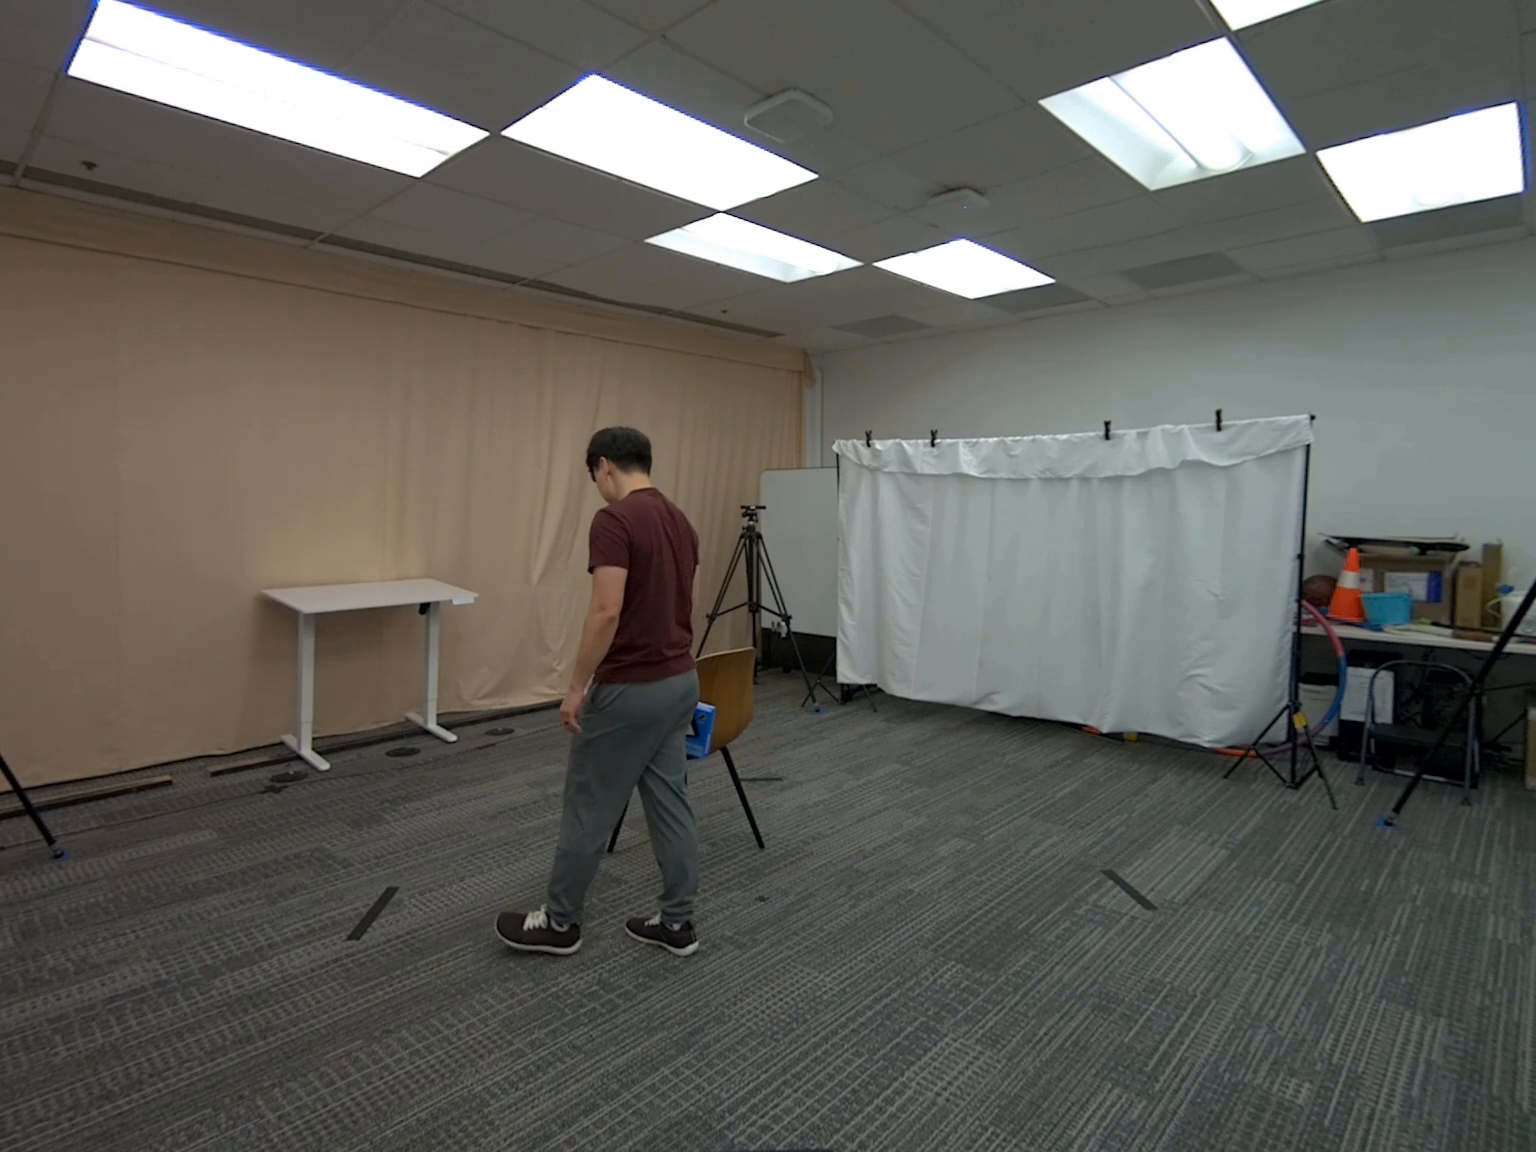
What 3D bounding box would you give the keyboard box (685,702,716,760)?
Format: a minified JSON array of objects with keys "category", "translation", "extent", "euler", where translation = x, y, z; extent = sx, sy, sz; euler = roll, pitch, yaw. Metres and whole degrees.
[{"category":"keyboard box","translation":[-0.404,0.493,2.946],"extent":[0.446,0.175,0.058],"euler":[13,11,17]}]
